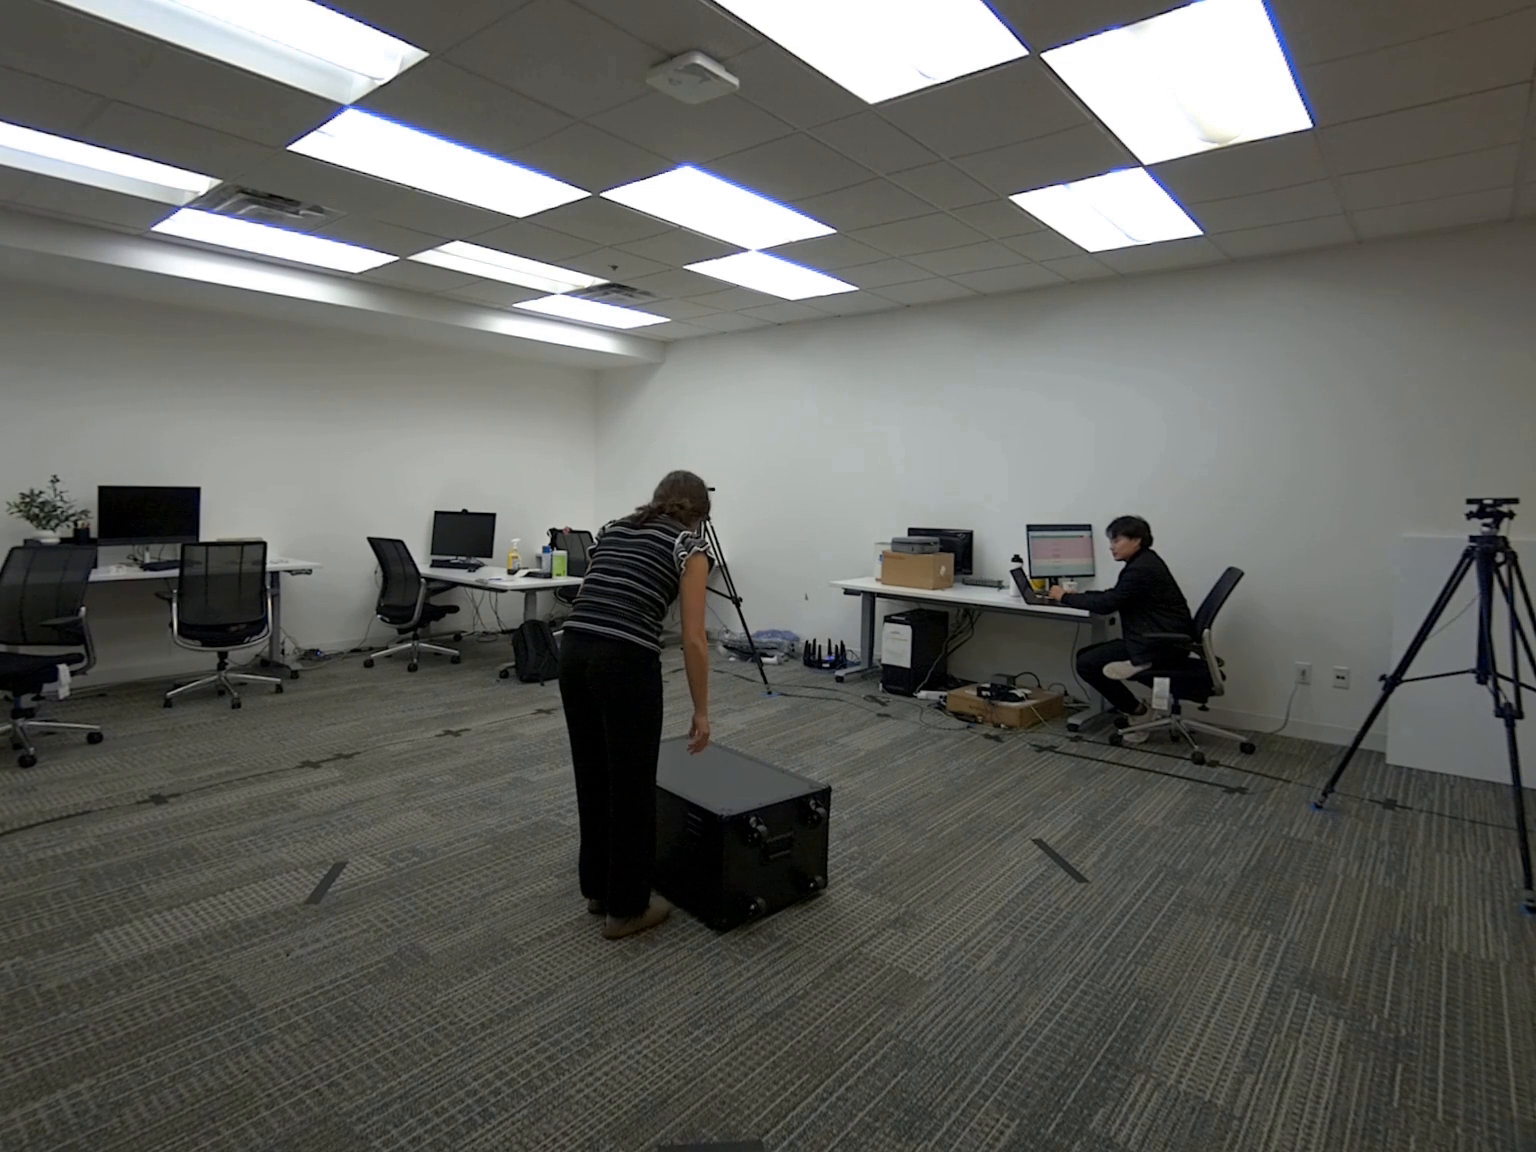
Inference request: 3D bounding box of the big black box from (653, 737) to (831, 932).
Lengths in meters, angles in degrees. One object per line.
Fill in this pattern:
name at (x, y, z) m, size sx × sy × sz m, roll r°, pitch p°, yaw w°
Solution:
big black box at (-0.218, 0.880, 3.048) m, size 0.505 × 0.395 × 0.891 m, roll -3°, pitch 5°, yaw -41°
